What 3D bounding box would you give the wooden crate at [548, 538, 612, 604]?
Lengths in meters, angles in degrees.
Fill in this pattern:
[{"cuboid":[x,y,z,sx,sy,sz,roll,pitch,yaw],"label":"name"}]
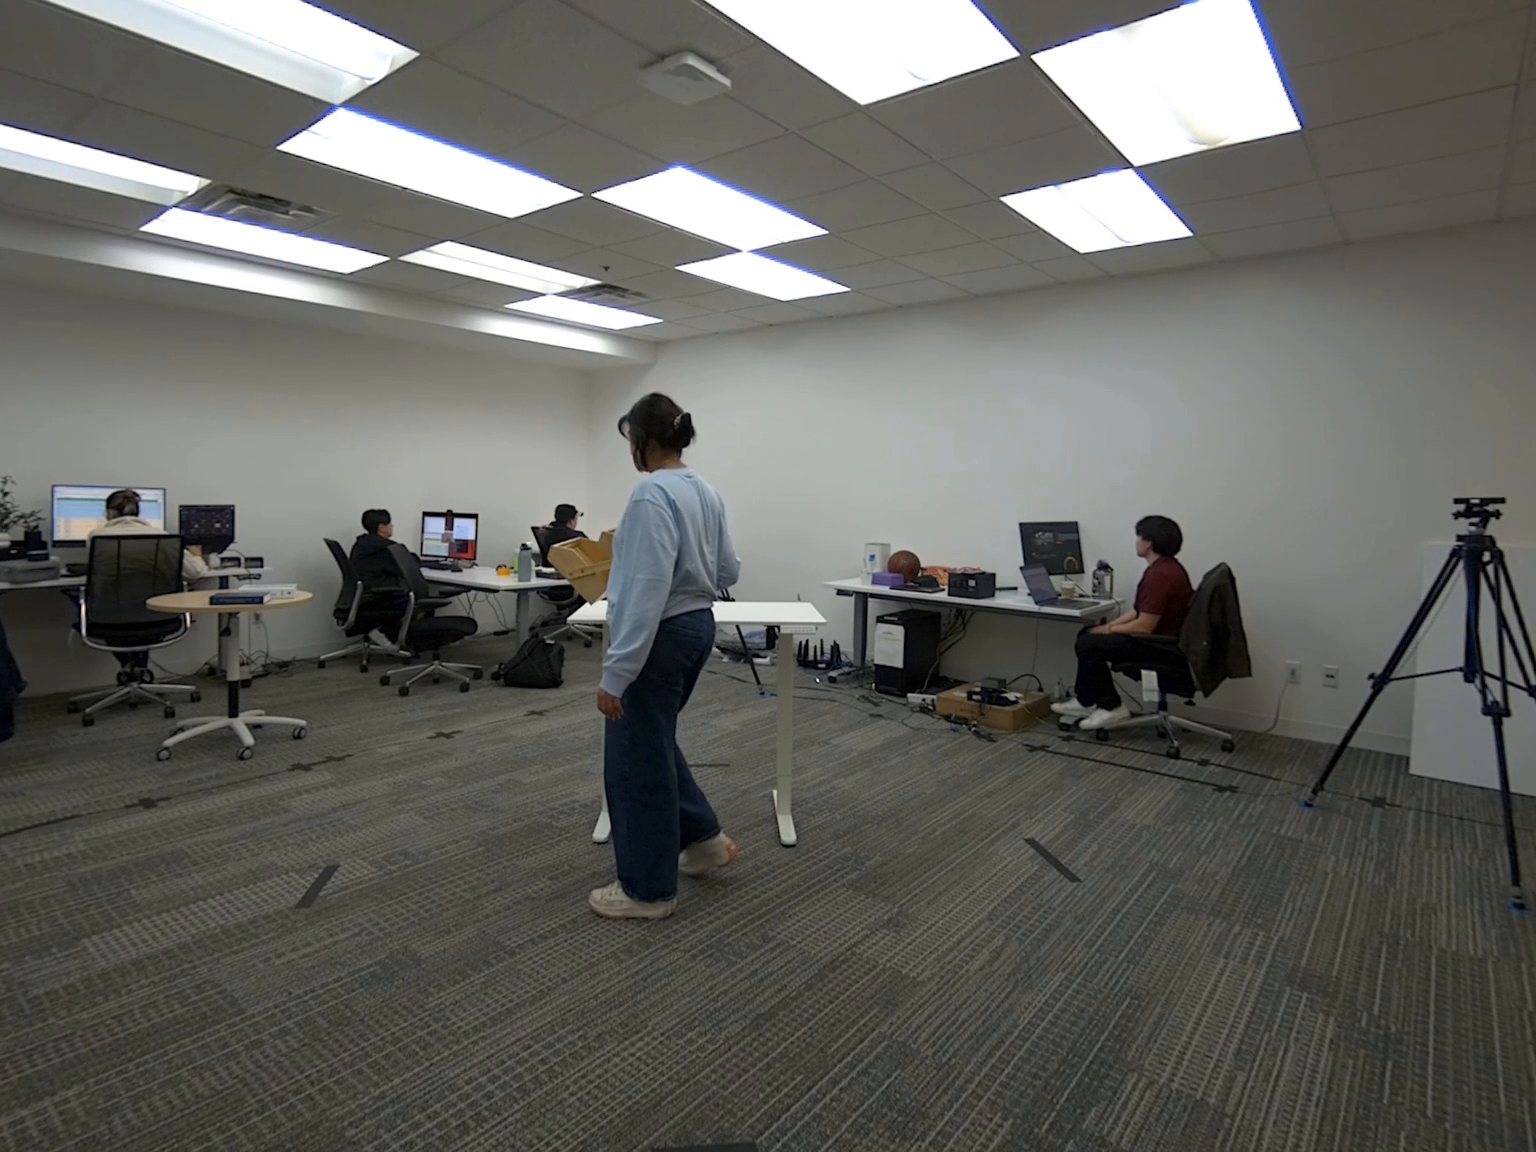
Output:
[{"cuboid":[-0.585,-0.080,3.139,0.273,0.302,0.324,-43,2,9],"label":"wooden crate"}]
